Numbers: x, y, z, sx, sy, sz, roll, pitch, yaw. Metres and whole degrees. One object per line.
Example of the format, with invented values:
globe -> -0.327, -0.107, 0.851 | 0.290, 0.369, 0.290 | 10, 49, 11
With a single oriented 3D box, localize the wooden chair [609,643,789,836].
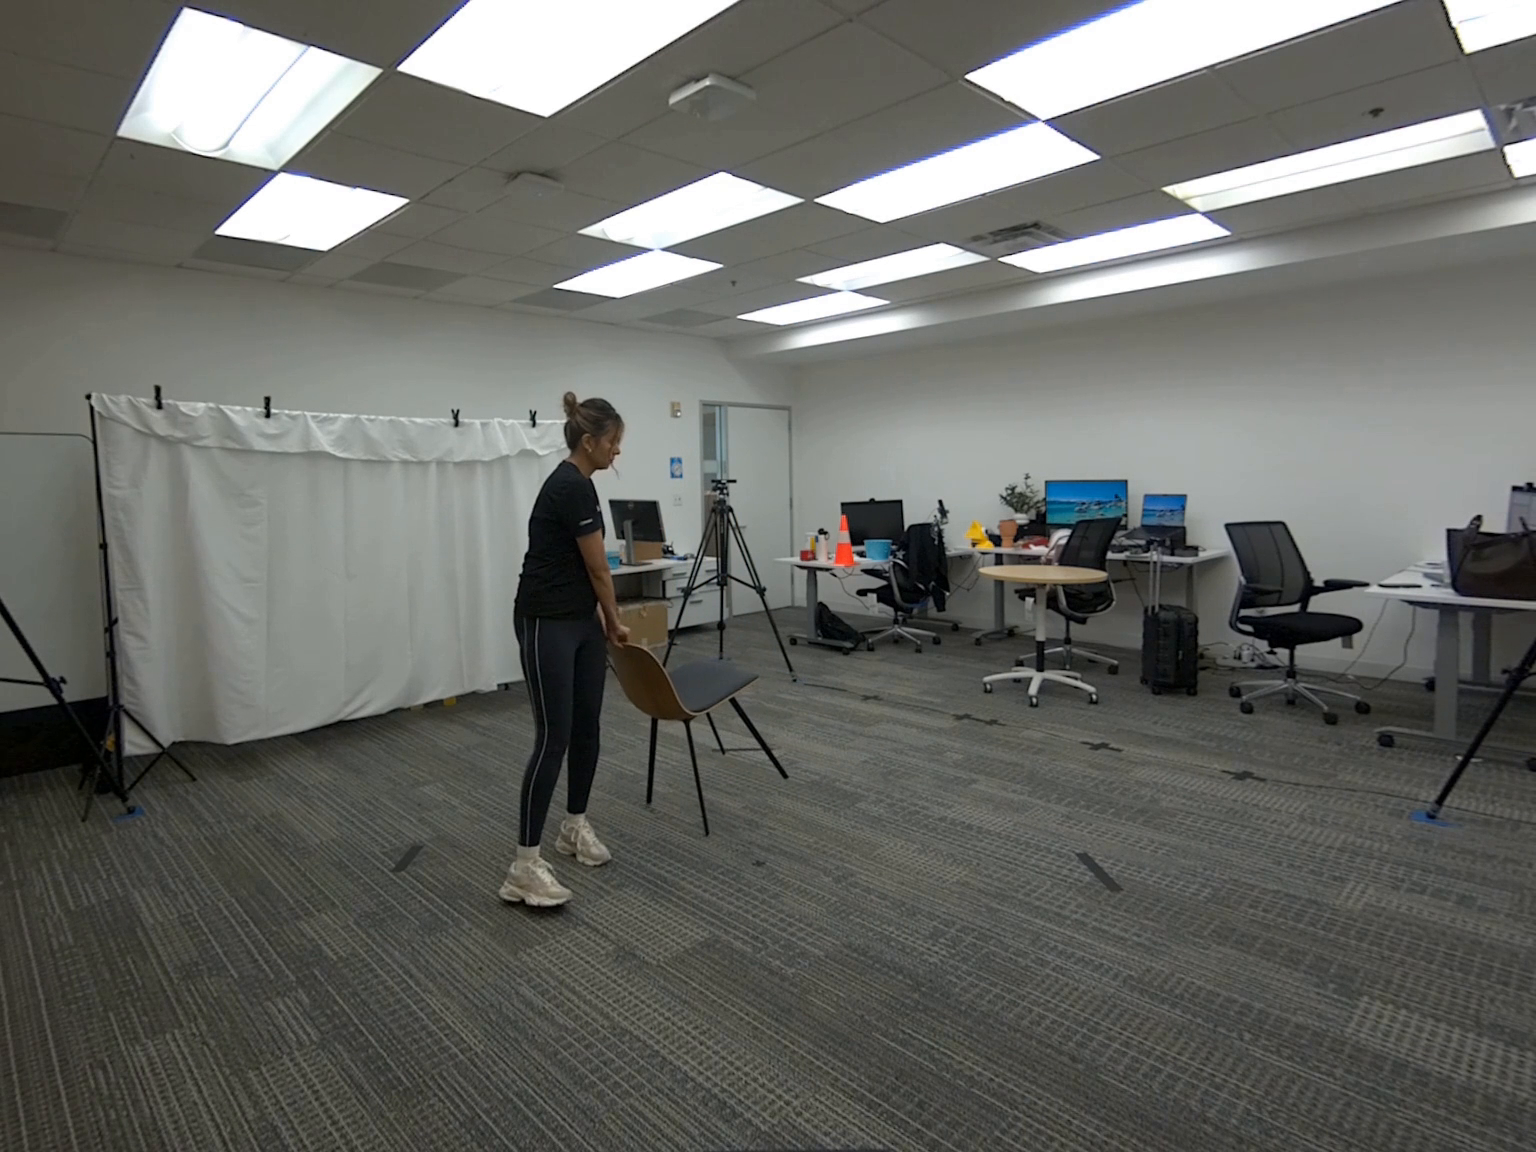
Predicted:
wooden chair -> -0.320, 0.525, 3.558 | 0.517, 0.861, 0.492 | -30, 20, -34
